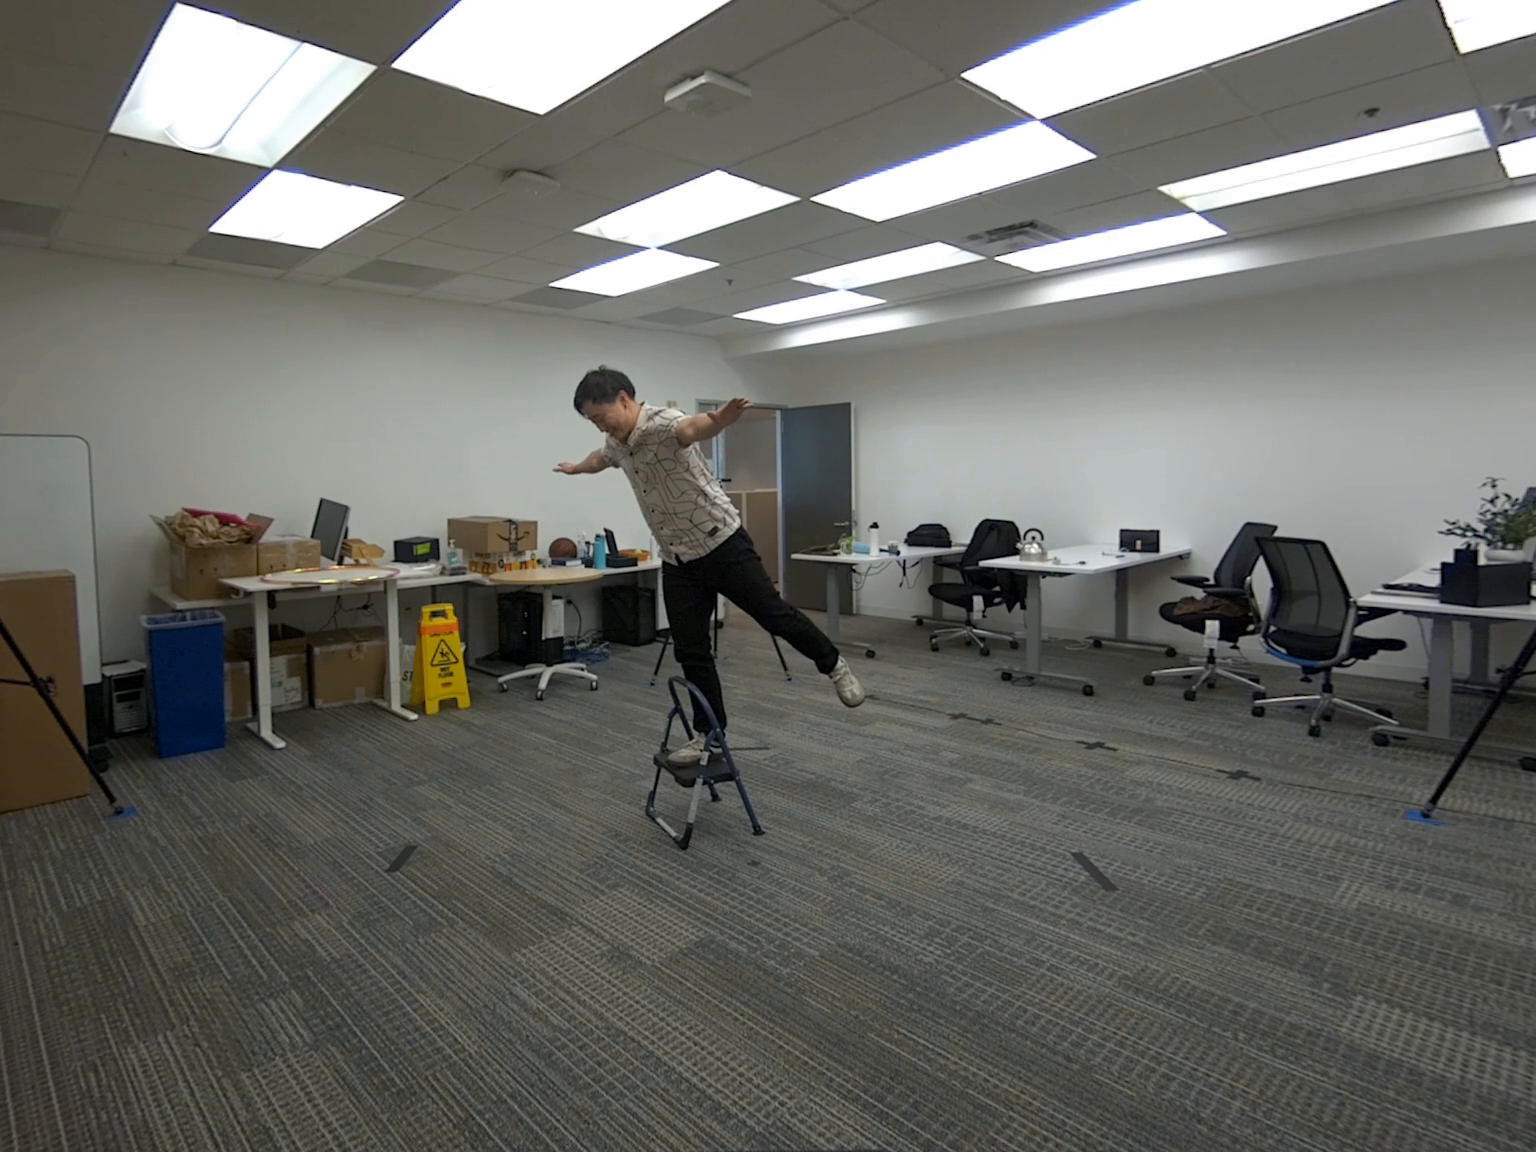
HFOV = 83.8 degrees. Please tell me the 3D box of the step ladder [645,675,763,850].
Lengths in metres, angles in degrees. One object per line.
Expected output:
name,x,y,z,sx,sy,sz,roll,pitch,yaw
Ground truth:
step ladder,-0.272,0.705,3.462,0.341,0.604,0.442,-3,4,-28
